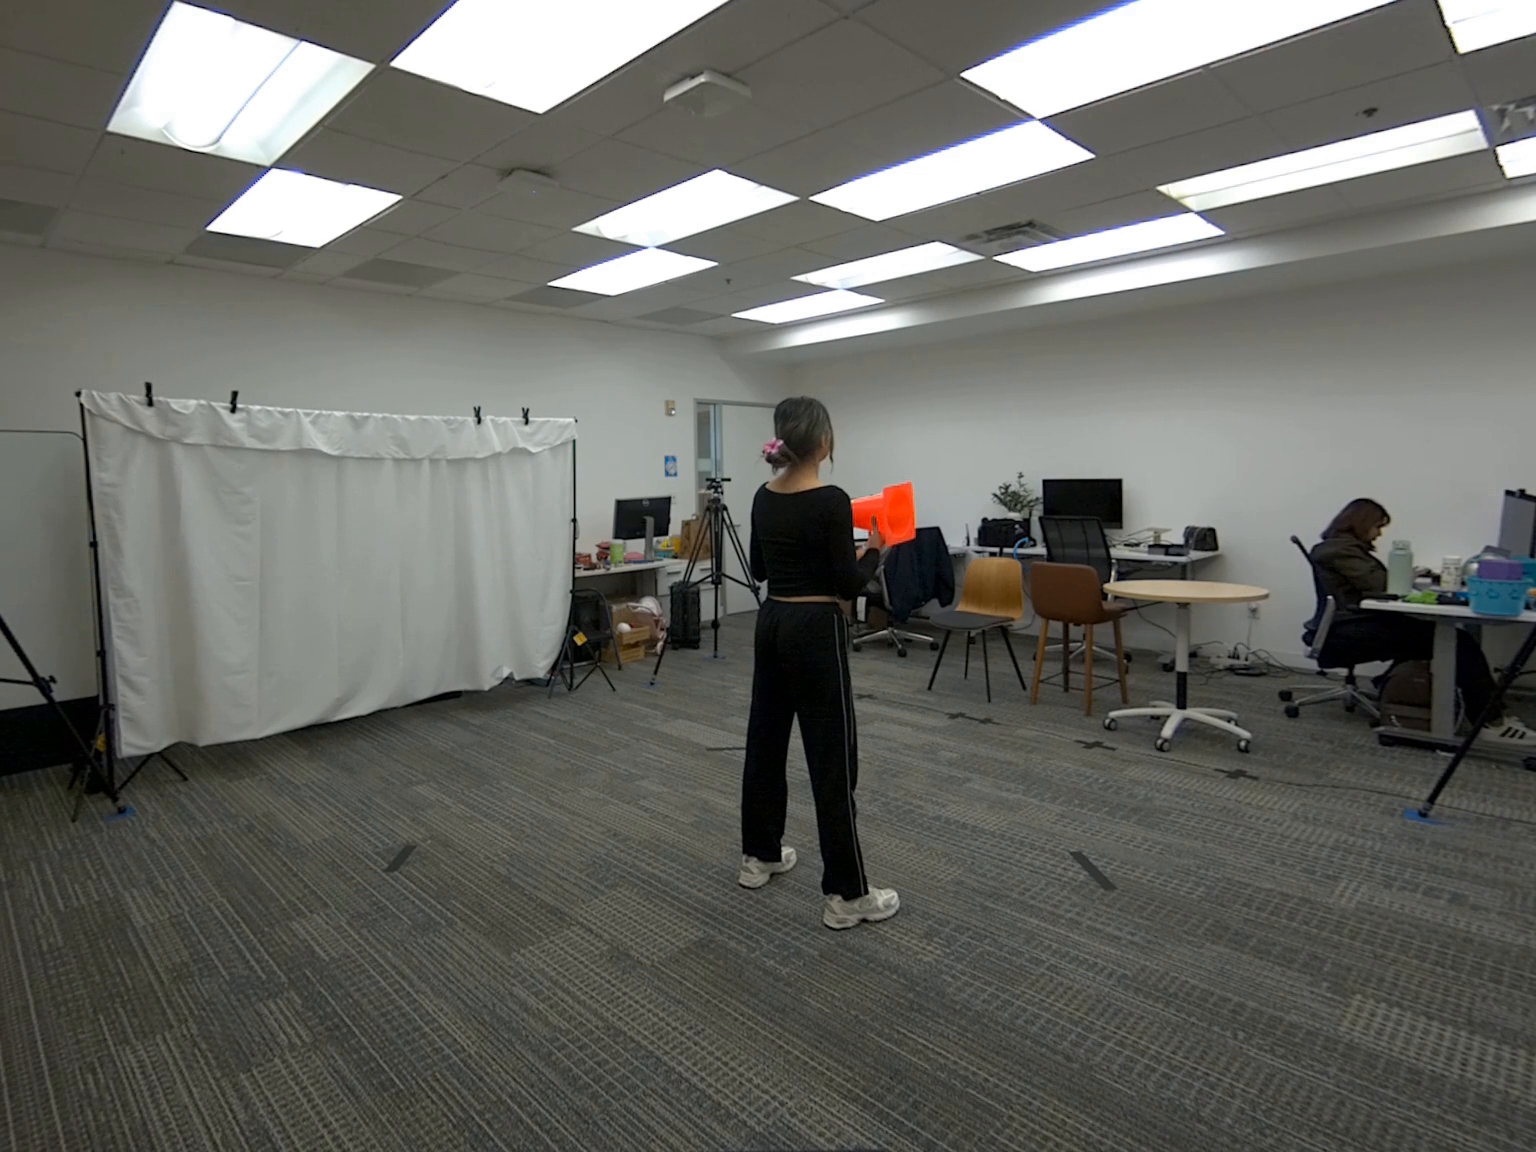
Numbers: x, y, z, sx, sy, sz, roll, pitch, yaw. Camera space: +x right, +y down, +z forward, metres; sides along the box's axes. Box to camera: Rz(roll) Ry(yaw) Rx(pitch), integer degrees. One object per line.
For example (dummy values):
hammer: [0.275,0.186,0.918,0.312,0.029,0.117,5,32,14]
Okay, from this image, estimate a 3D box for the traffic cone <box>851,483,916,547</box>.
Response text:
traffic cone: [0.295,-0.226,3.012,0.395,0.203,0.199,5,13,41]
